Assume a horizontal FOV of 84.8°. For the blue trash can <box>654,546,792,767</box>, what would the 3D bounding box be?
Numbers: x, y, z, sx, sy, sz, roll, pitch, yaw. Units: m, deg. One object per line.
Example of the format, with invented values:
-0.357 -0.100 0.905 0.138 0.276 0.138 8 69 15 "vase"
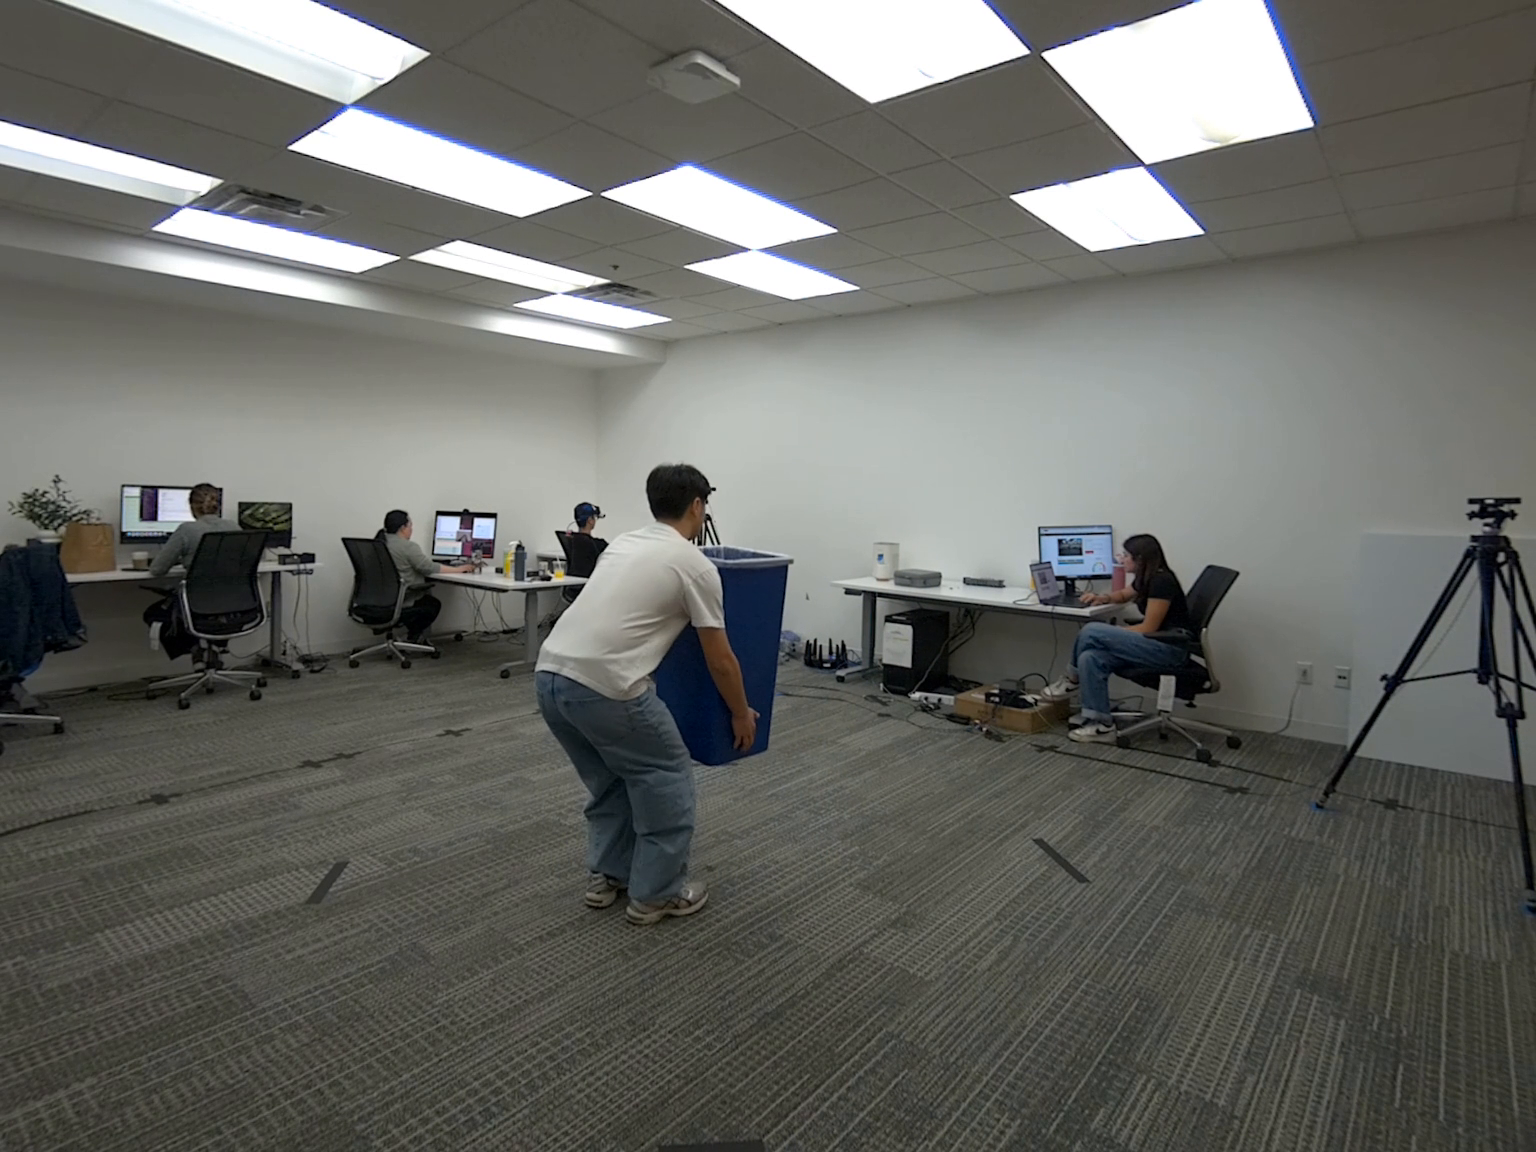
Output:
-0.181 0.271 3.063 0.387 0.710 0.367 8 7 41 "blue trash can"
